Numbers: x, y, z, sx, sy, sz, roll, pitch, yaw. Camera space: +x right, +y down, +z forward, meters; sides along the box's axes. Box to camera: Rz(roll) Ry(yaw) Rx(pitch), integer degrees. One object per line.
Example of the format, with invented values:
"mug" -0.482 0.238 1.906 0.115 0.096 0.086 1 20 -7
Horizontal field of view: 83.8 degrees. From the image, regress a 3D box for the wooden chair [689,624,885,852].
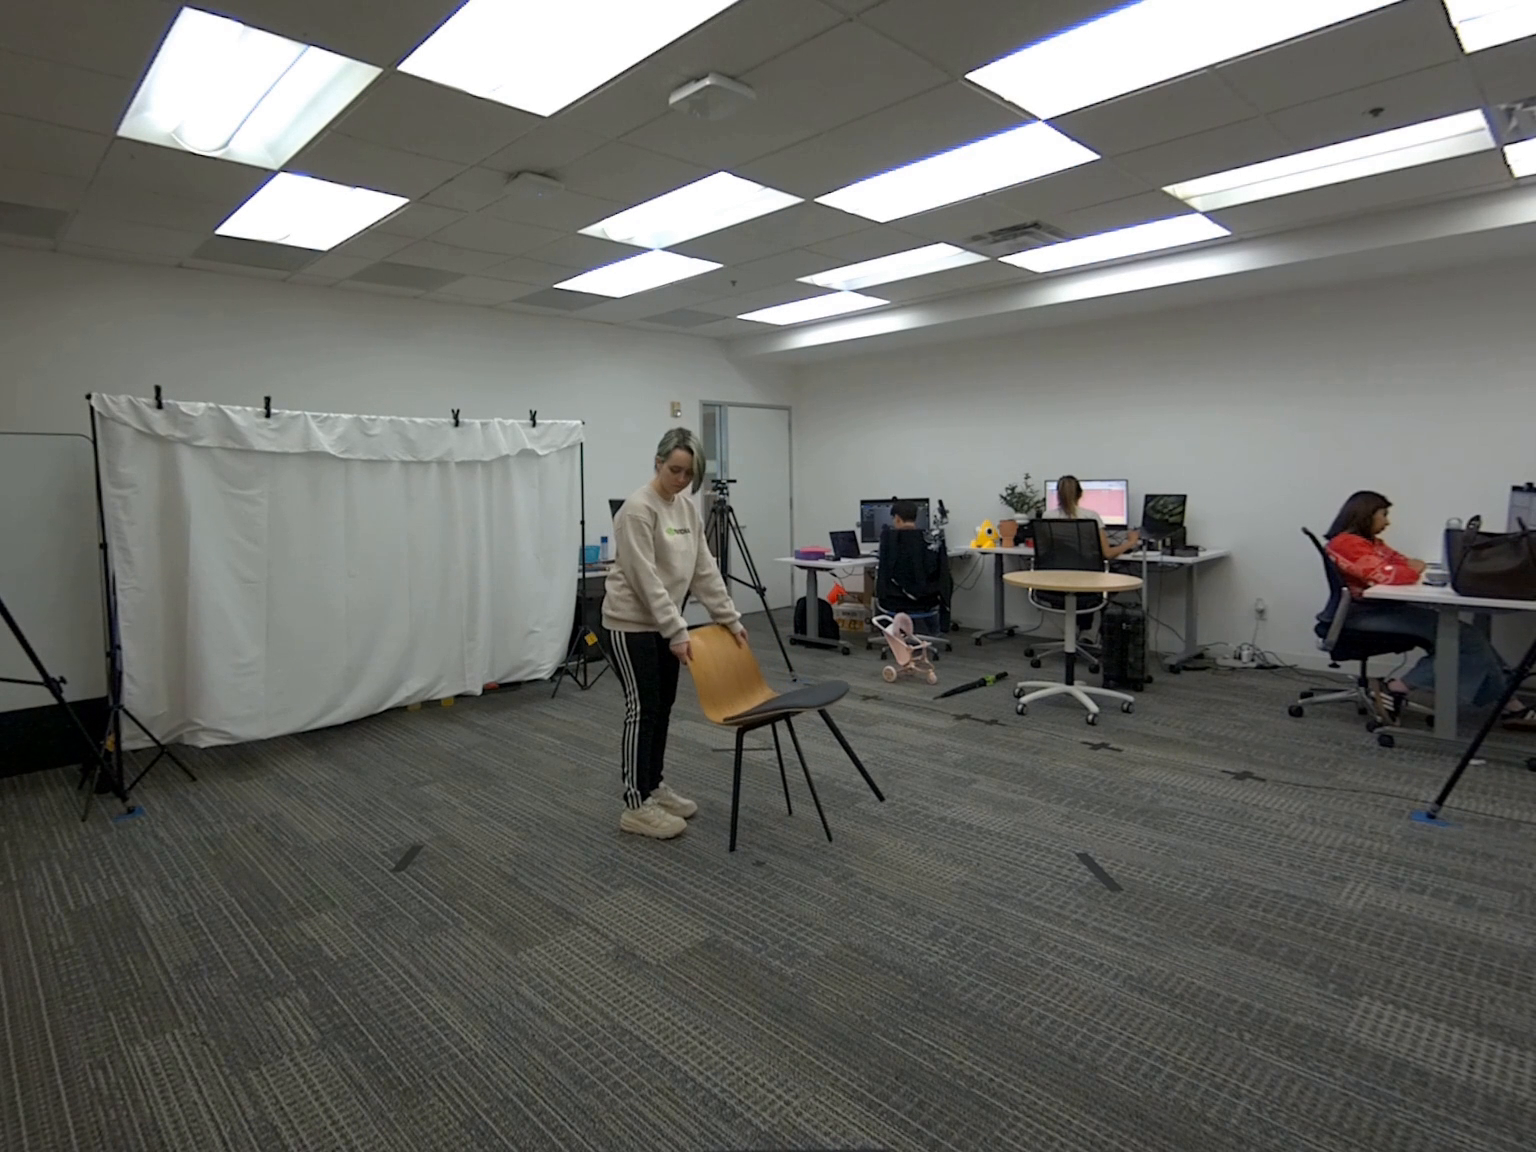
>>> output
"wooden chair" 0.039 0.544 3.301 0.530 0.887 0.466 -26 -11 33
